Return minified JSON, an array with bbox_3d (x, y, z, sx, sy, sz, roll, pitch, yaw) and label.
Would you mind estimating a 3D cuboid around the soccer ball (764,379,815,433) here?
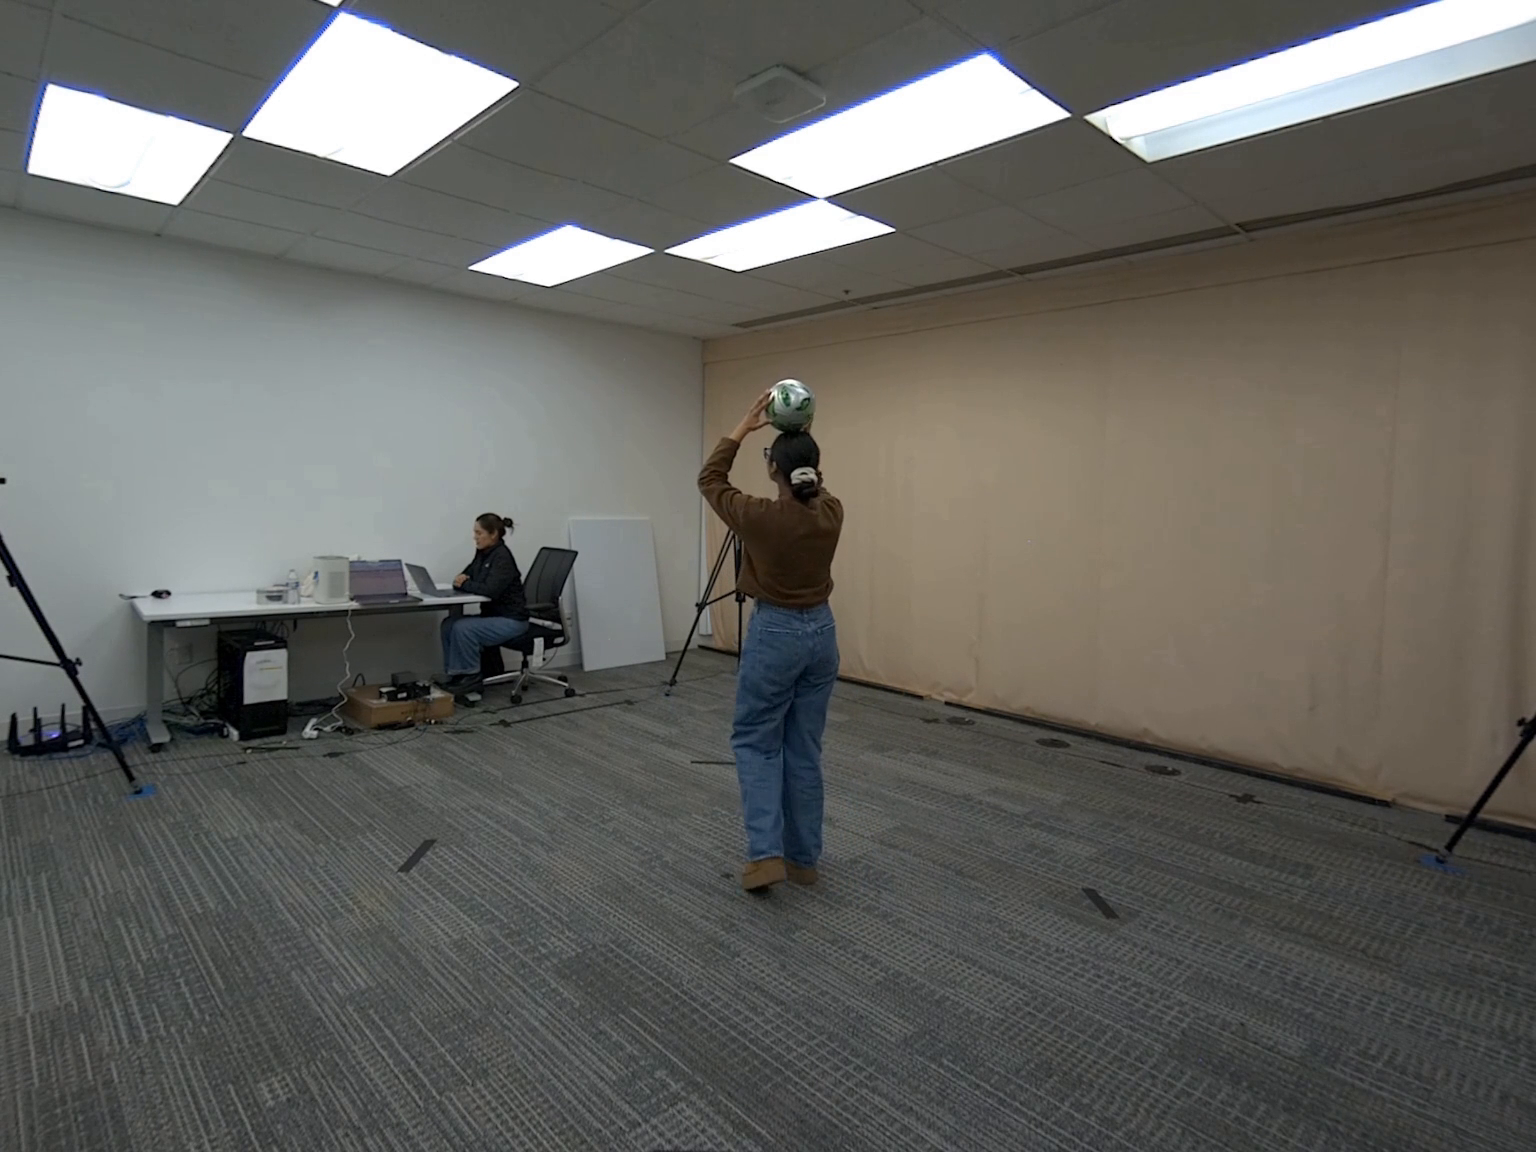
[{"bbox_3d":[0.076,-0.606,3.020,0.187,0.187,0.188,1,4,-1],"label":"soccer ball"}]
